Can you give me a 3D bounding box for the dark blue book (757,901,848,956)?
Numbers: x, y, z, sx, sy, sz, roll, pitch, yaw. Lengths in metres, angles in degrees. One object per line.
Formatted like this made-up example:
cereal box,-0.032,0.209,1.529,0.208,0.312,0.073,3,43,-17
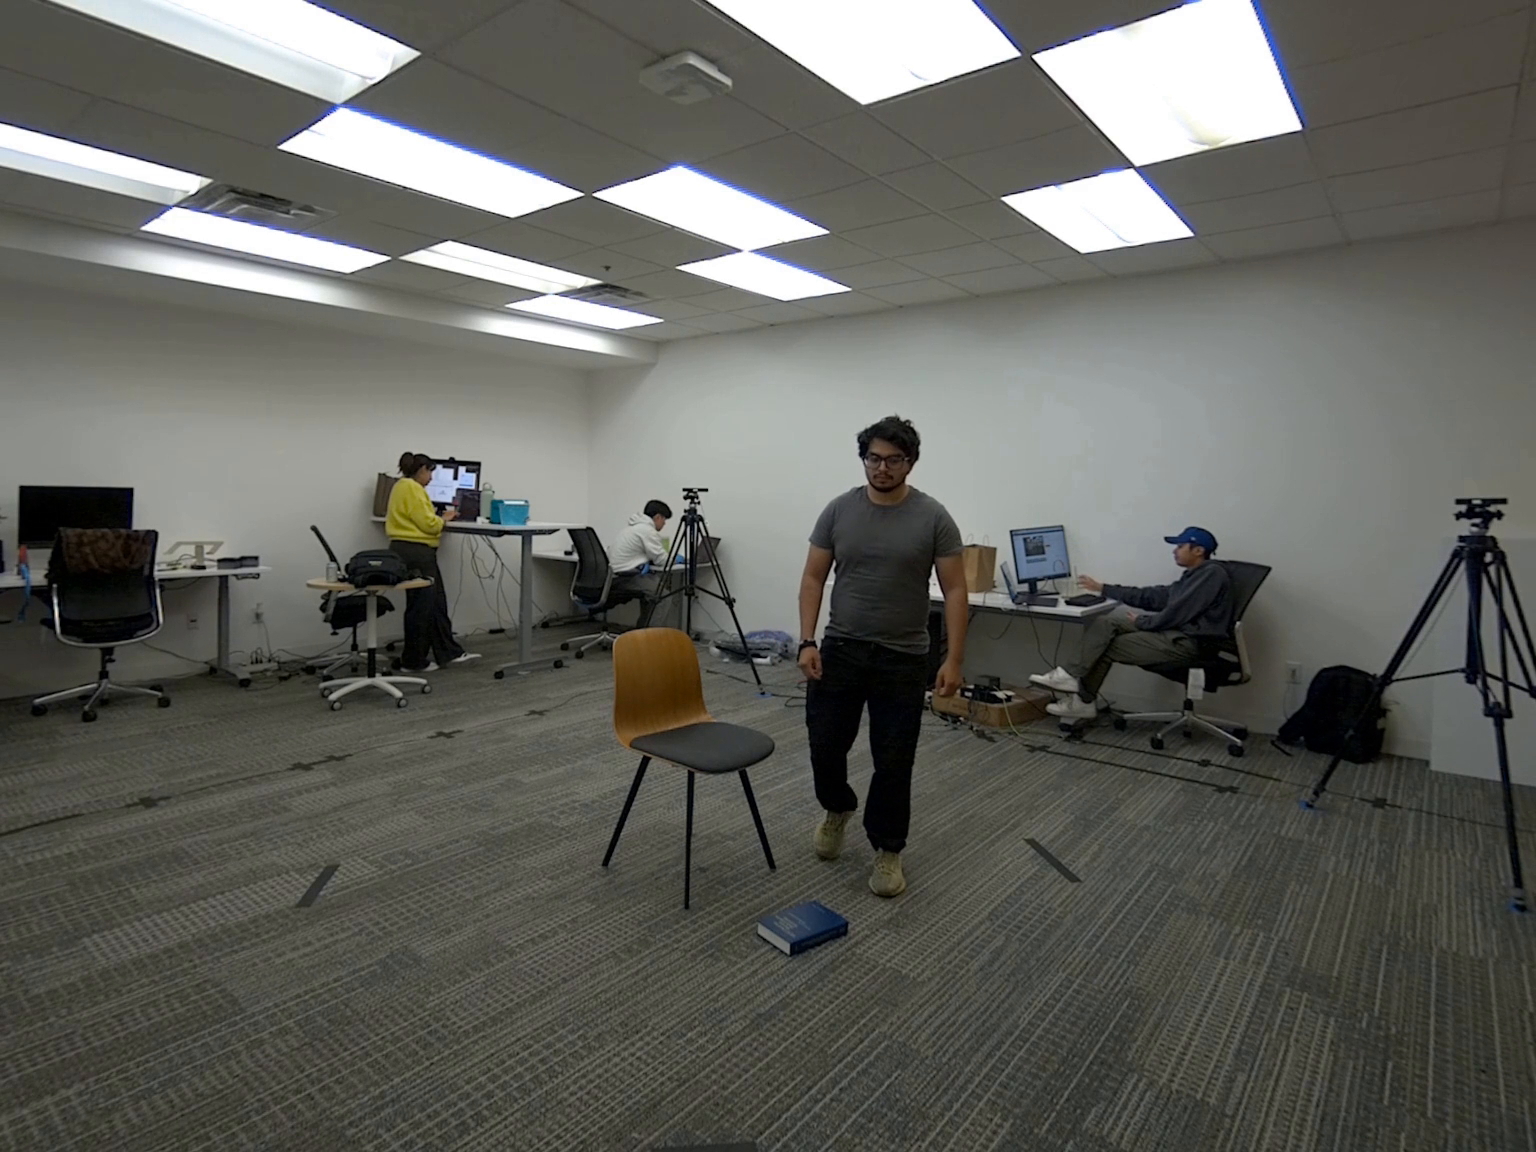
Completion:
dark blue book,0.103,1.093,2.667,0.238,0.045,0.169,-4,8,-38
